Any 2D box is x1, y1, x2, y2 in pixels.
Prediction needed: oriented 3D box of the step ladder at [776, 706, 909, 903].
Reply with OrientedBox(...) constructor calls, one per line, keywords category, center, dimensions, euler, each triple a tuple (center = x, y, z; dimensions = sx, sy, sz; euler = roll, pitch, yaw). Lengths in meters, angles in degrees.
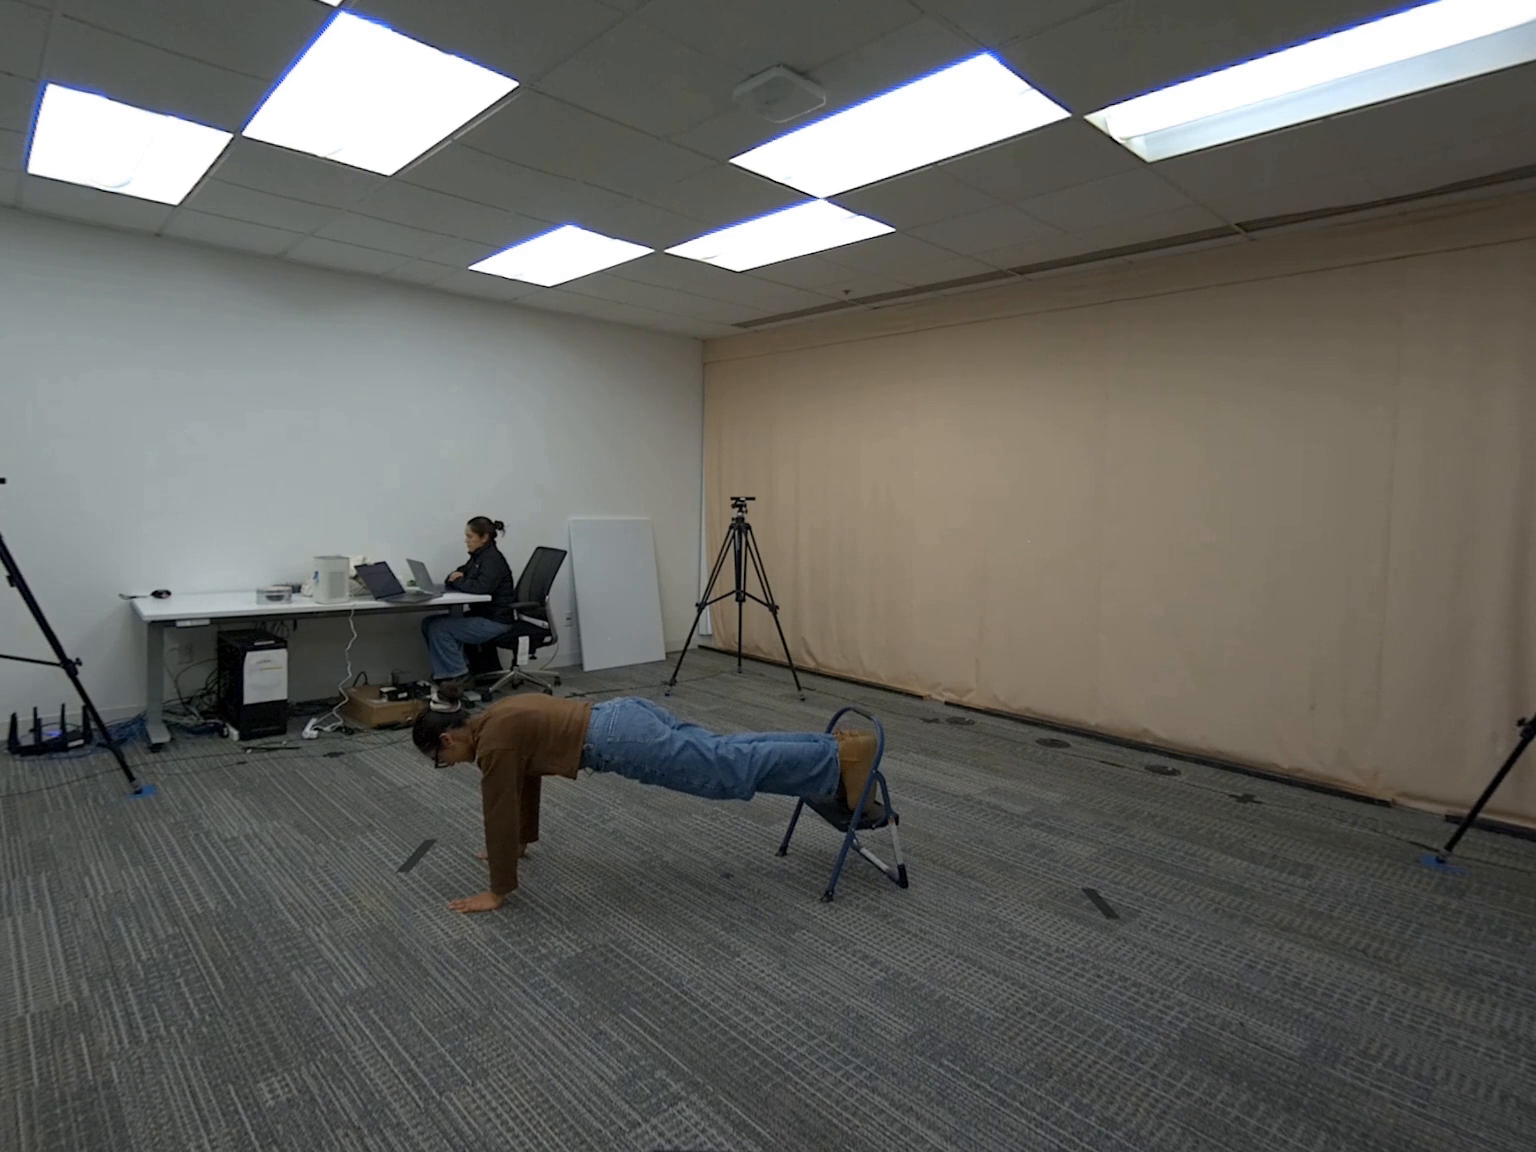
OrientedBox(category="step ladder", center=(0.275, 0.811, 3.156), dimensions=(0.343, 0.605, 0.439), euler=(0, 4, -23))
